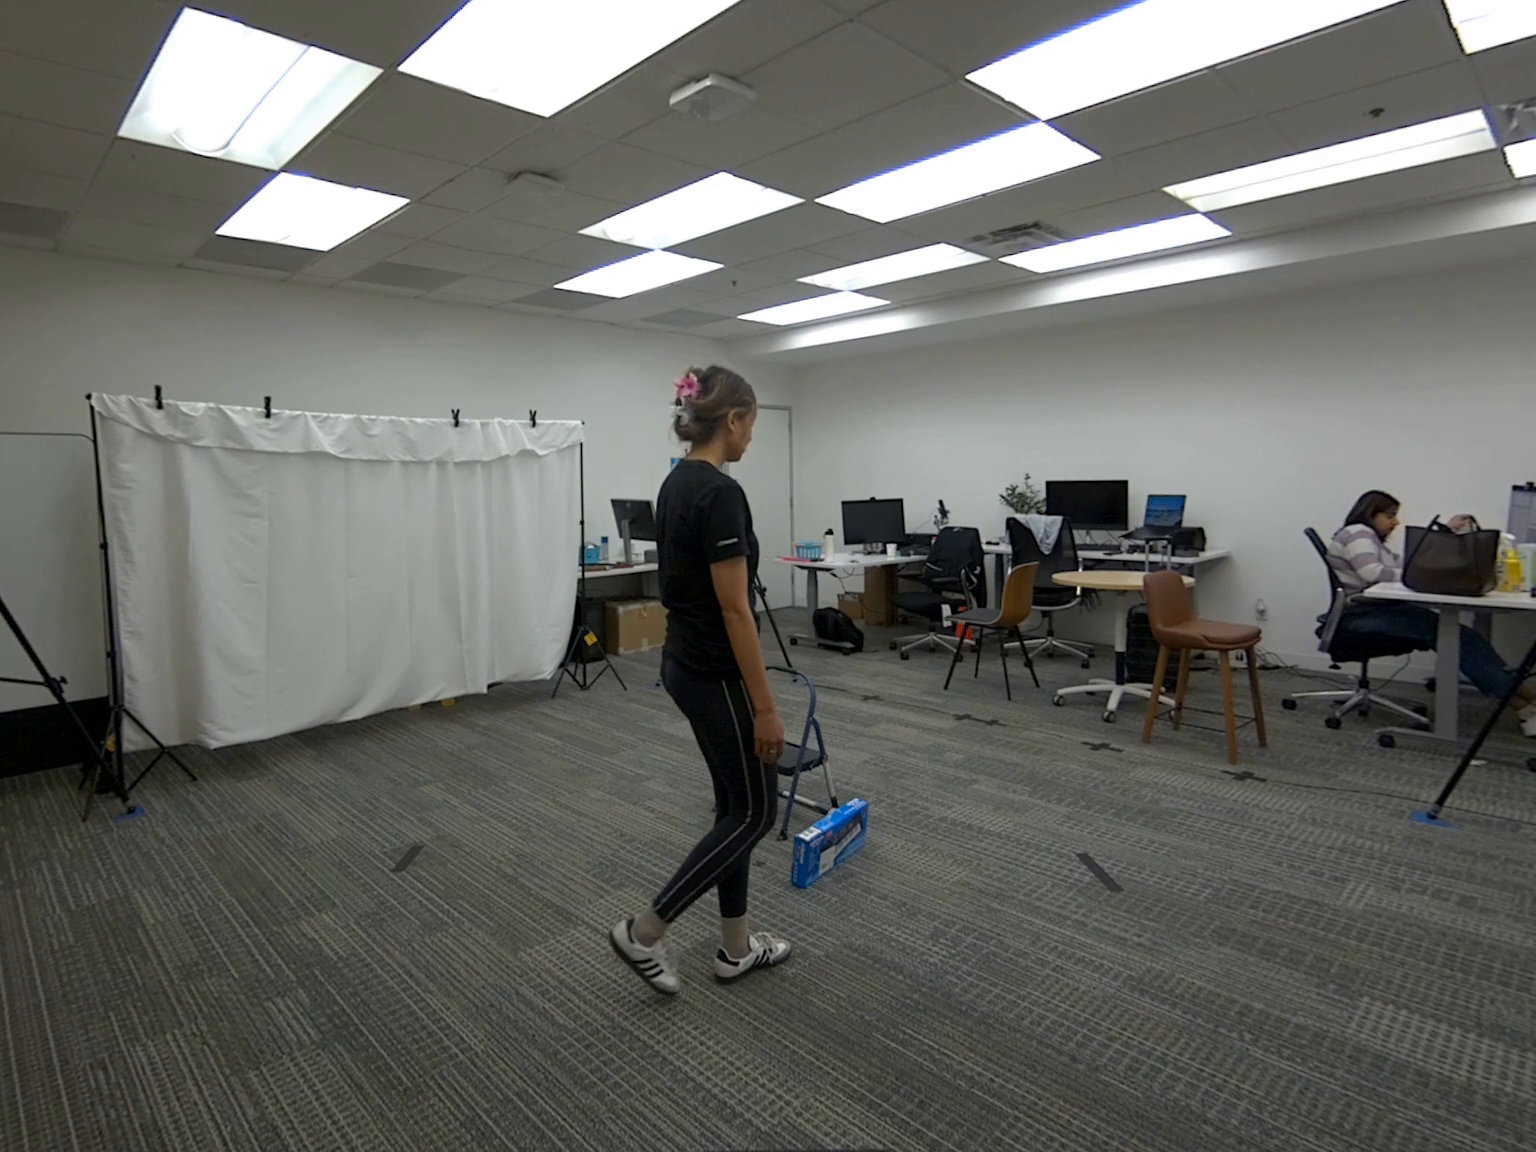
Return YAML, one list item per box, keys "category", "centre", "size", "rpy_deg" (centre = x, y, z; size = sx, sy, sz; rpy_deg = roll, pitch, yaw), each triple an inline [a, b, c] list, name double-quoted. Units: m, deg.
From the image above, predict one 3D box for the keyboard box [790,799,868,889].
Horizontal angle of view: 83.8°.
- category: "keyboard box"
  centre: [0.232, 0.959, 3.088]
  size: [0.061, 0.175, 0.426]
  rpy_deg: [8, 10, 34]
